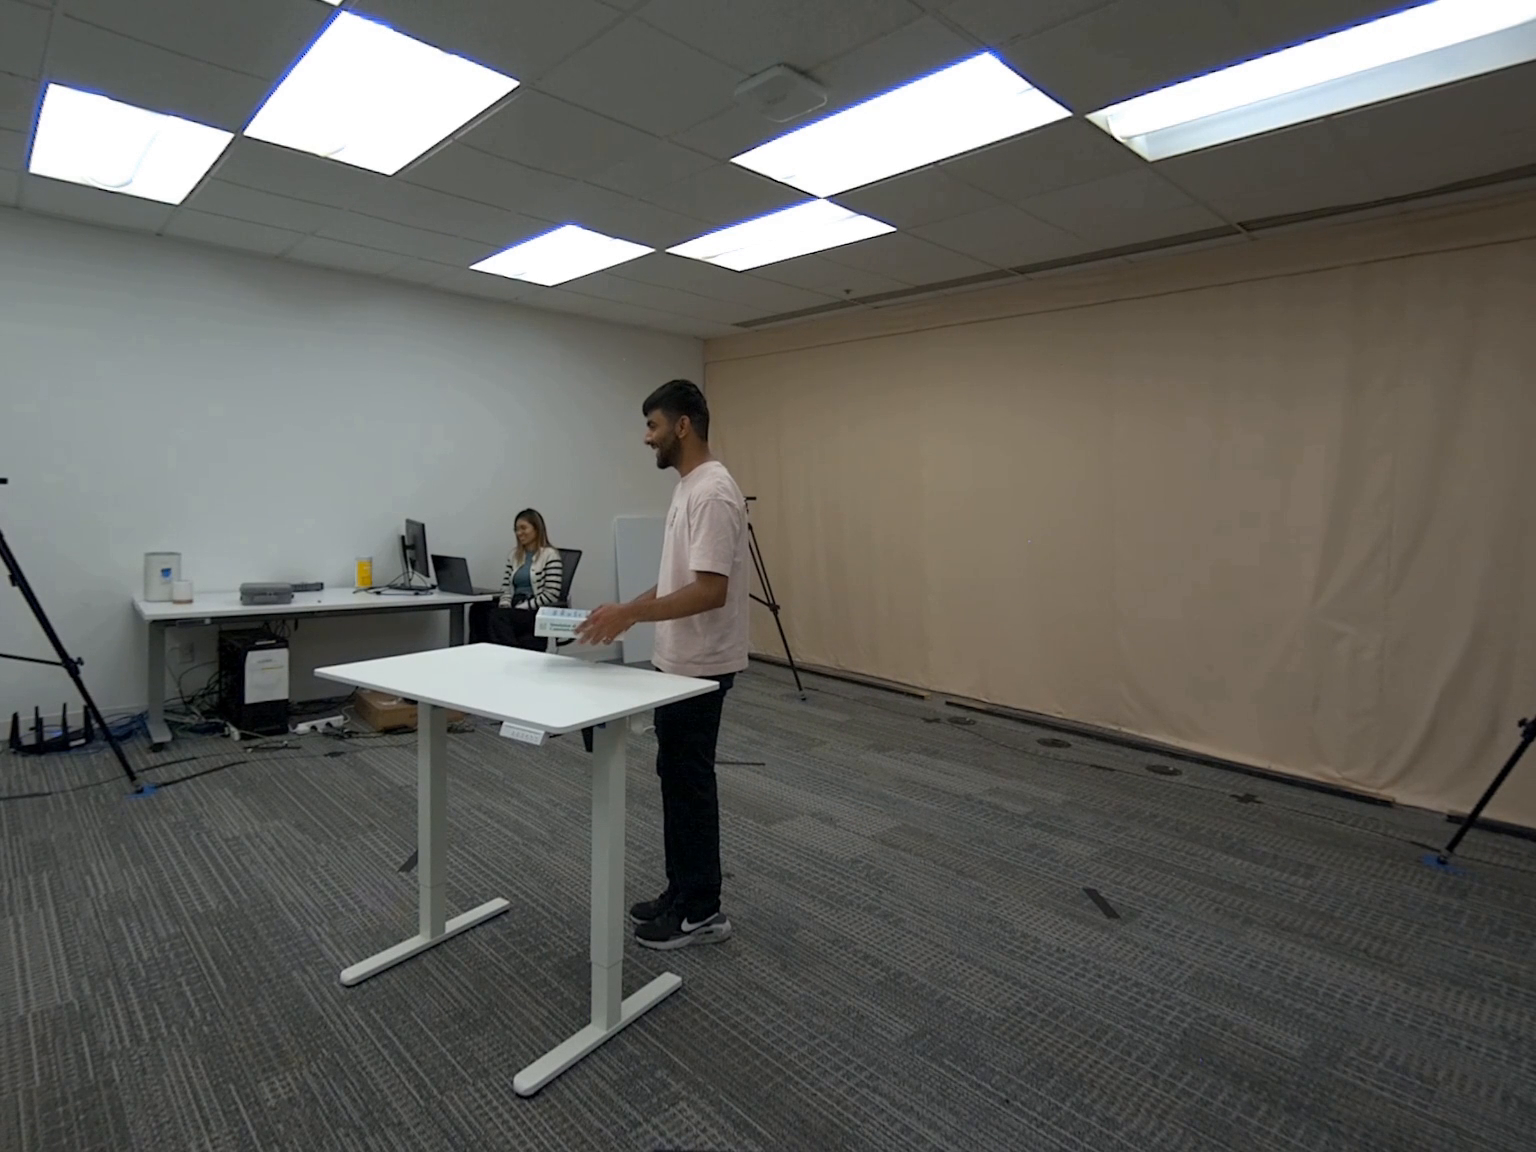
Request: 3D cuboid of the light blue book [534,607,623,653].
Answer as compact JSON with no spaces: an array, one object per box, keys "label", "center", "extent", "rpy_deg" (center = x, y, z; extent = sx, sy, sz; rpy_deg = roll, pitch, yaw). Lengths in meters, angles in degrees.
[{"label":"light blue book","center":[-0.577,0.151,2.551],"extent":[0.259,0.059,0.193],"rpy_deg":[5,4,-7]}]
